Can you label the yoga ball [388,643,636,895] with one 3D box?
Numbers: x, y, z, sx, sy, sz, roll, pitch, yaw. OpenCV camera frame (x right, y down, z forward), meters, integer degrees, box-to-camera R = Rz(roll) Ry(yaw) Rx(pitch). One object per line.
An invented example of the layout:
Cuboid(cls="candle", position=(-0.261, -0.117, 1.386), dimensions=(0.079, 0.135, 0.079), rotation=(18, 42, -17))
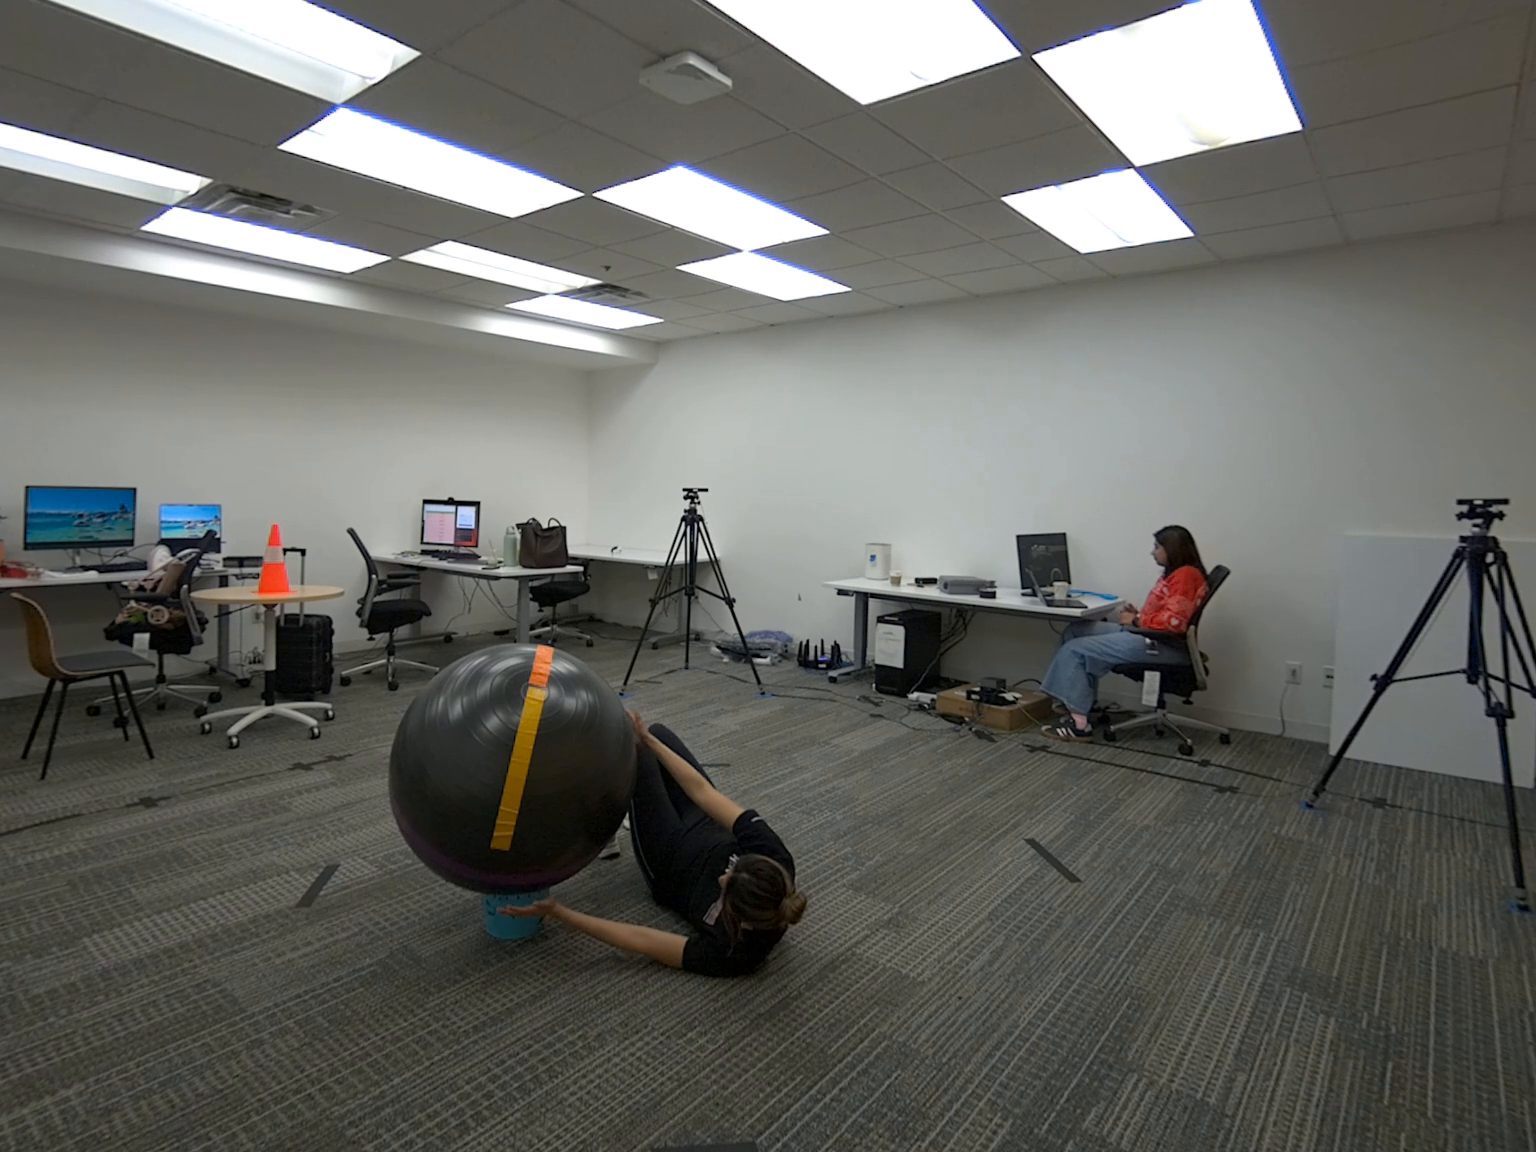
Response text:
Cuboid(cls="yoga ball", position=(-0.800, 0.598, 2.663), dimensions=(0.757, 0.756, 0.761), rotation=(-3, 3, -2))
